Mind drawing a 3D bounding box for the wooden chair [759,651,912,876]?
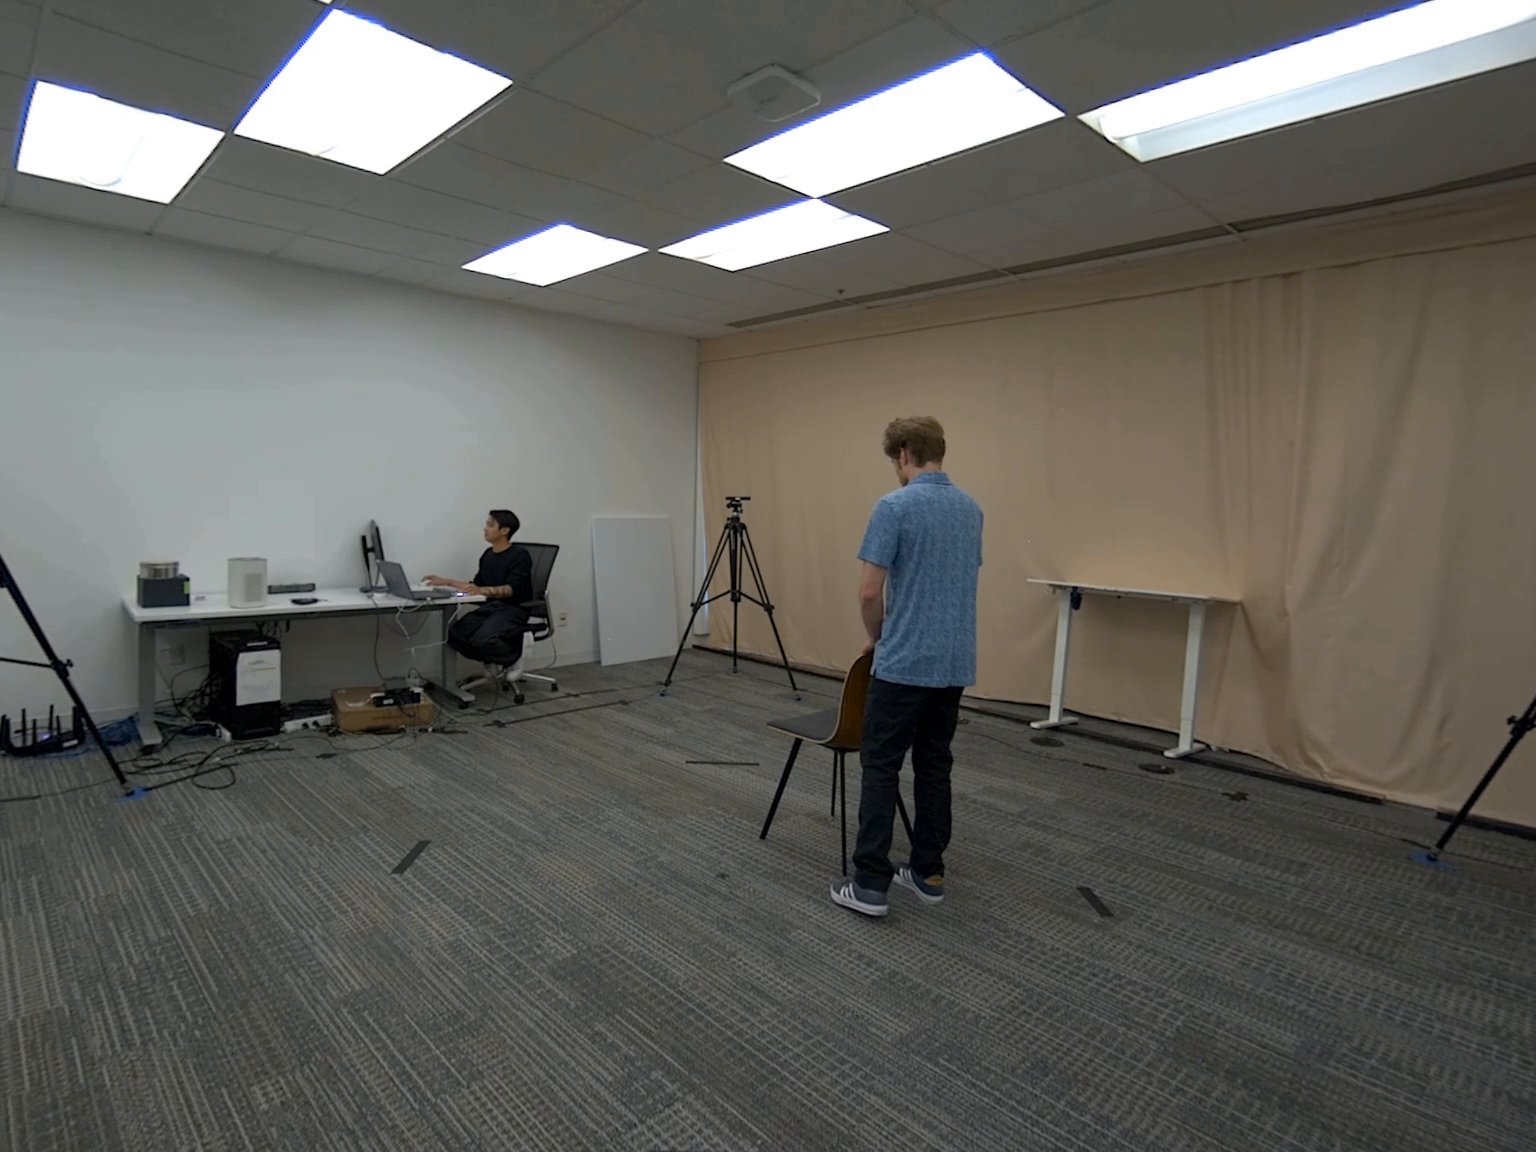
[{"bbox_3d":[0.279,0.658,3.407,0.467,0.873,0.537,-2,9,-43],"label":"wooden chair"}]
